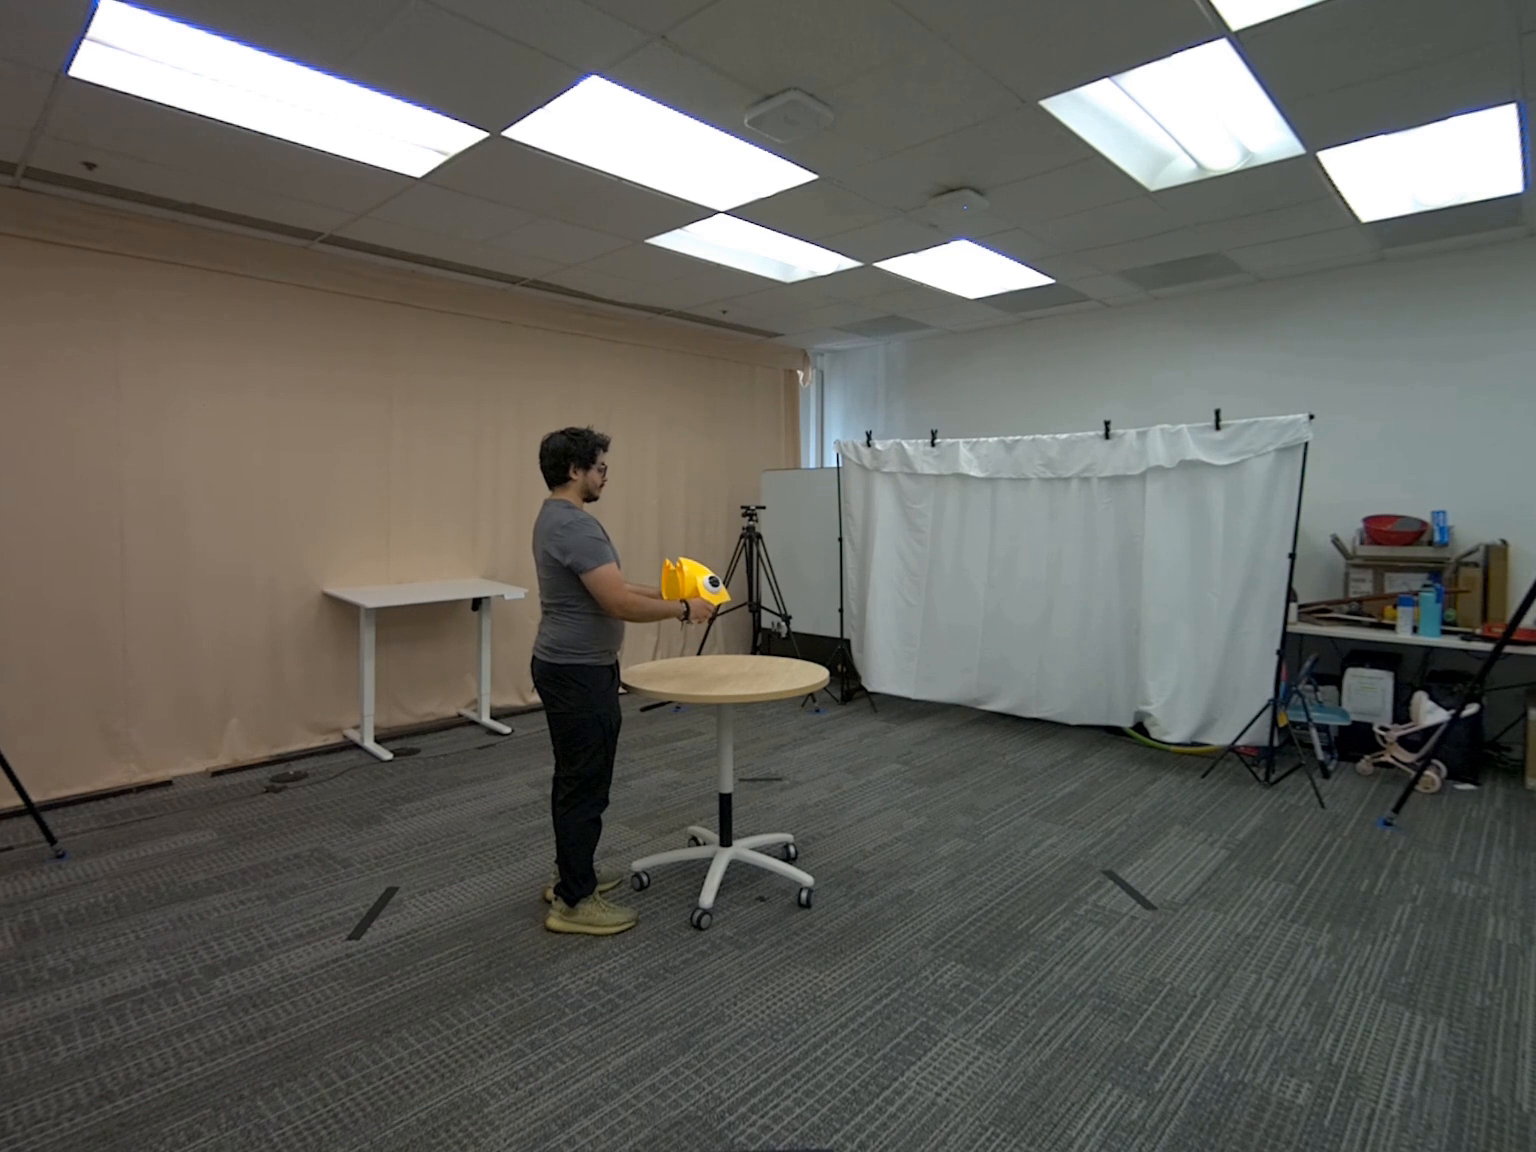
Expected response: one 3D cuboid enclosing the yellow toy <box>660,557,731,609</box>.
[{"bbox_3d":[-0.236,0.031,2.992,0.225,0.193,0.210,0,2,-27],"label":"yellow toy"}]
